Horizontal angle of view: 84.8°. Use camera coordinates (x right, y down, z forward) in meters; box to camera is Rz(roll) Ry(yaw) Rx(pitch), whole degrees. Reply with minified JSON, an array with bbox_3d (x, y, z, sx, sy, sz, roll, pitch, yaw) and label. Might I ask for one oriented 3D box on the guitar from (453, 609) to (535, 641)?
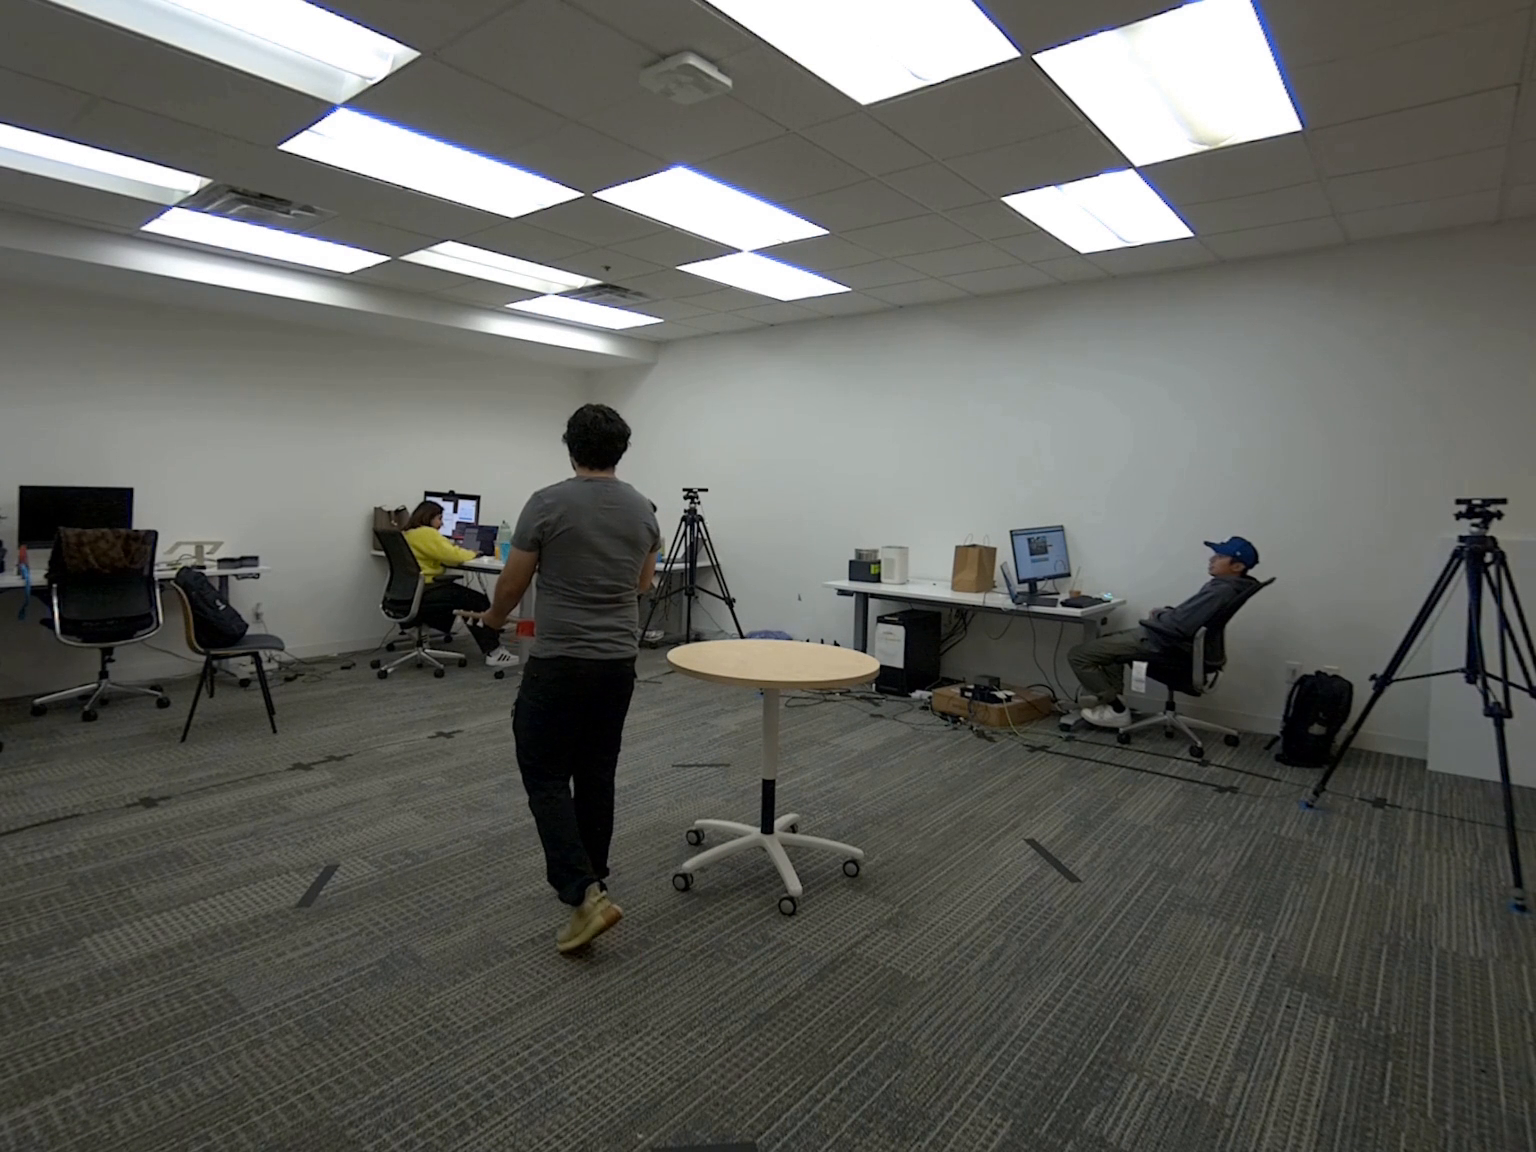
[{"bbox_3d":[-0.869,0.183,3.012,0.500,0.072,0.189,5,-17,3],"label":"guitar"}]
